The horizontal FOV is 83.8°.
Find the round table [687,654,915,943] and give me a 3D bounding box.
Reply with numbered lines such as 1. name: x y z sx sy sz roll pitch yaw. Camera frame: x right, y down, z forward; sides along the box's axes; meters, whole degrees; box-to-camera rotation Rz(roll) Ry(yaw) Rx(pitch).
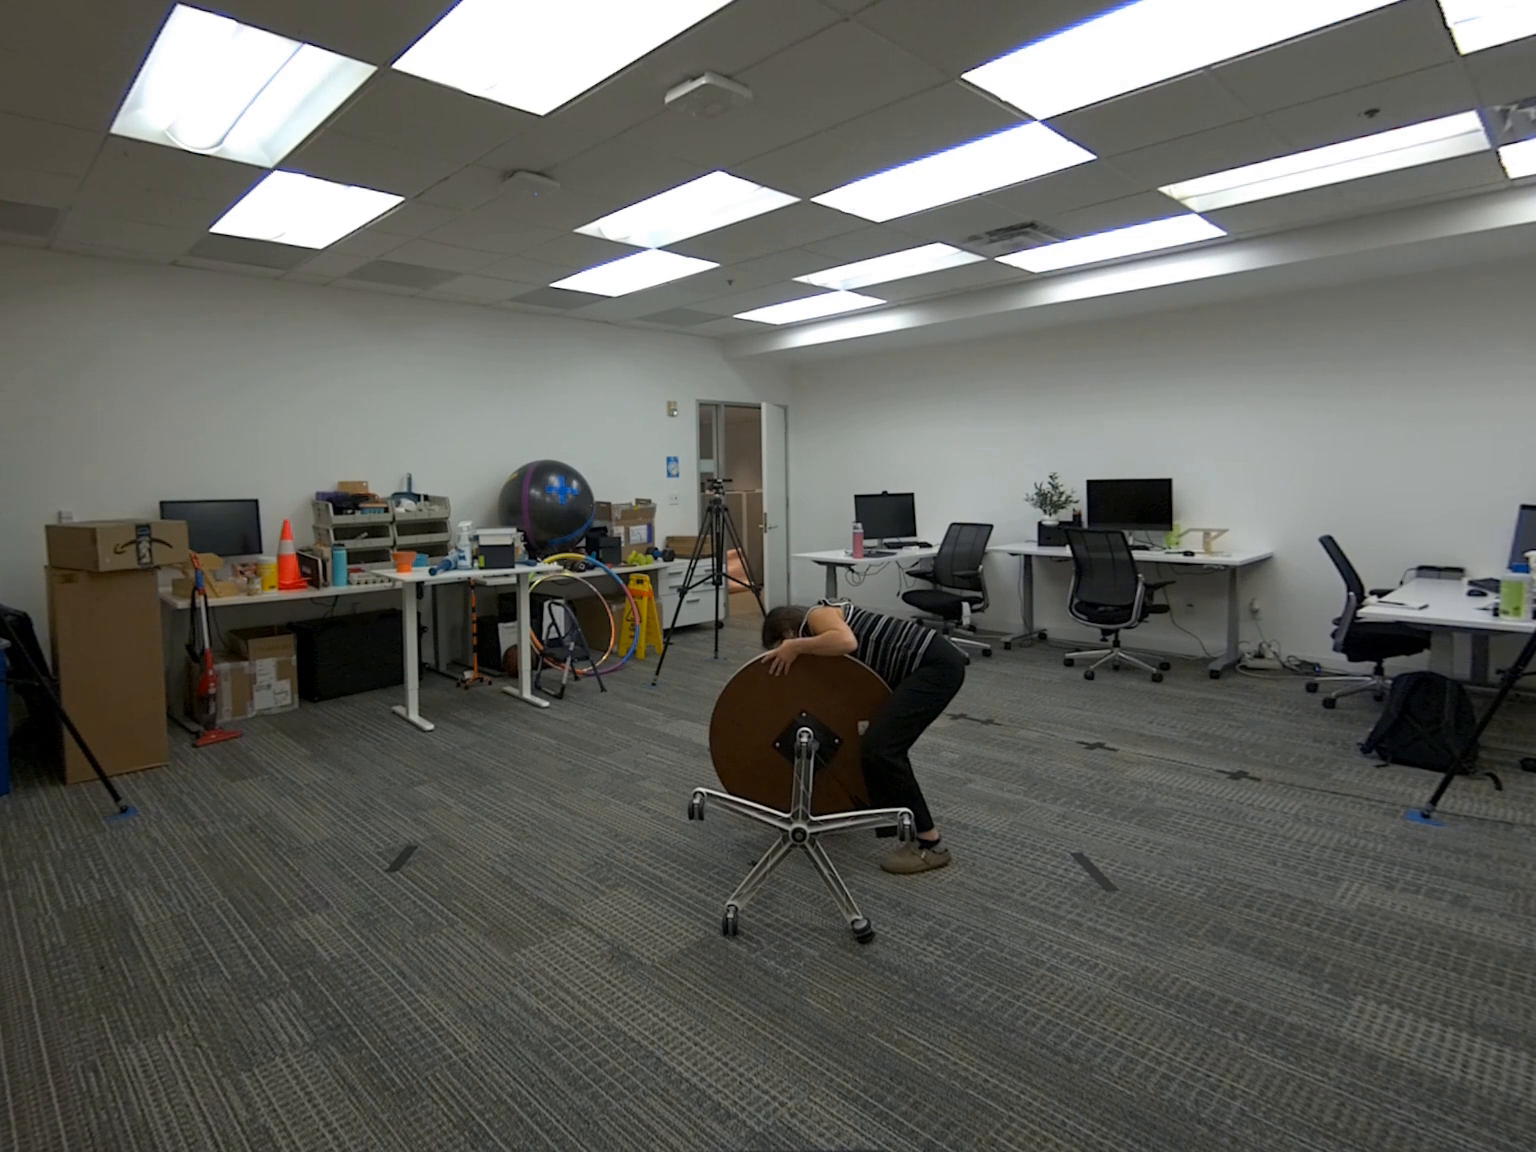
1. round table: 0.127 0.727 2.913 0.791 0.777 0.789 0 11 6
